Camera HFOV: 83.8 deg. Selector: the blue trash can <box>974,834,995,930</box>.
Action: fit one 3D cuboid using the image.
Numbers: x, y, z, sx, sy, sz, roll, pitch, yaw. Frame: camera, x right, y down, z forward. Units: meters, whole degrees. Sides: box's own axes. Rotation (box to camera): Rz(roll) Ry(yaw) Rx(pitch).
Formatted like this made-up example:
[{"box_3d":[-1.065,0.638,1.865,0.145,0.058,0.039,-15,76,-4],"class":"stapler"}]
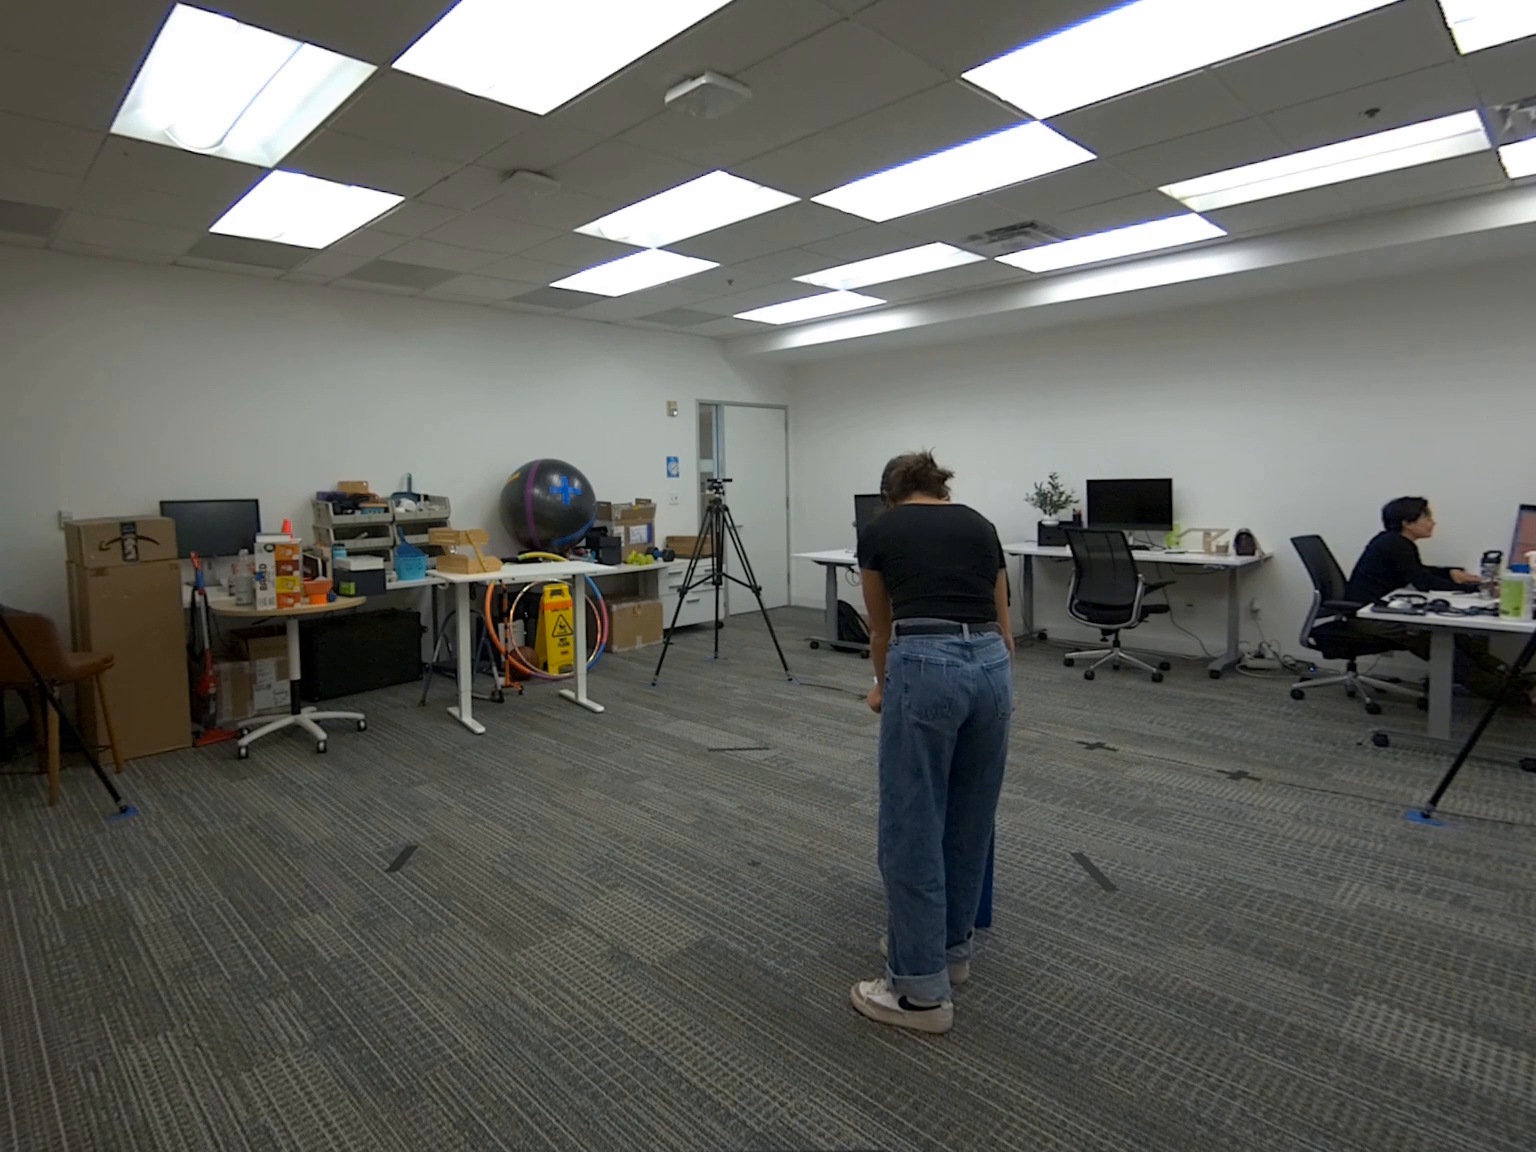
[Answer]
[{"box_3d":[0.554,0.722,2.771,0.376,0.711,0.377,0,4,5],"class":"blue trash can"}]
